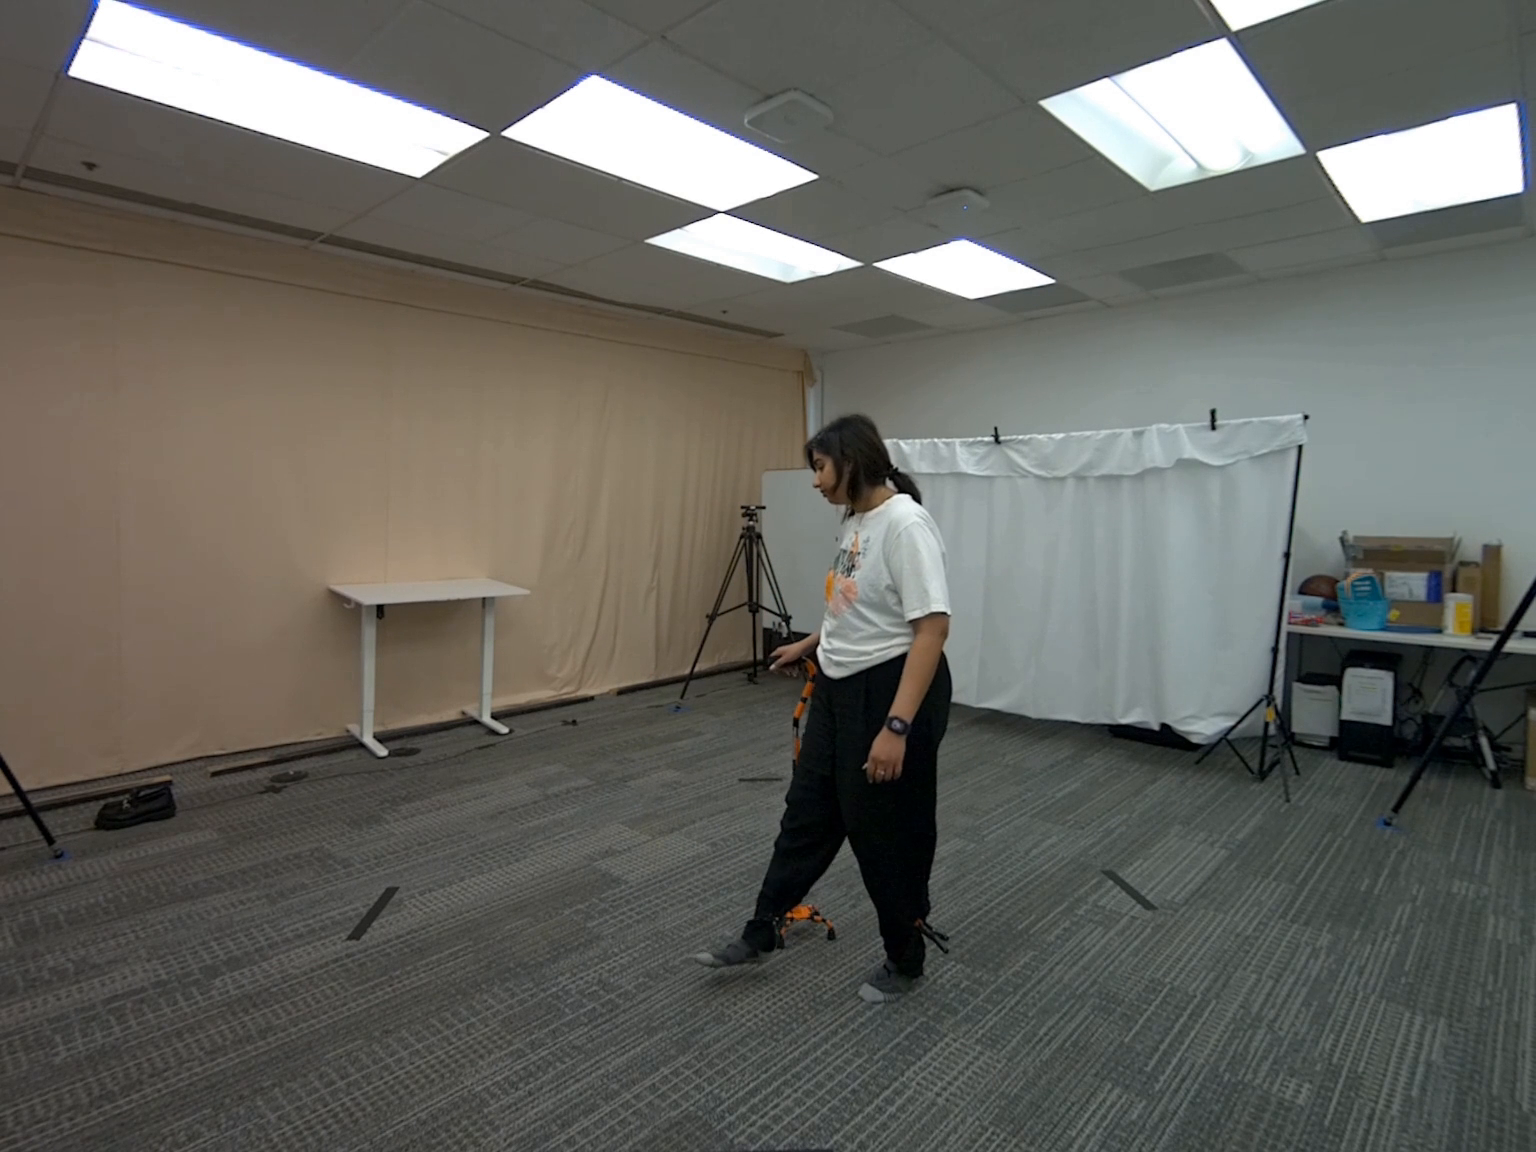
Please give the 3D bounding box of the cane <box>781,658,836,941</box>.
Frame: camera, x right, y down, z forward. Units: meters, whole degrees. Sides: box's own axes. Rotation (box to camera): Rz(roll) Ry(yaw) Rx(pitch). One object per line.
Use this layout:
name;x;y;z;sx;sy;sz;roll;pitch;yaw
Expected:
cane;0.098;0.714;2.718;0.203;0.906;0.154;-2;3;-18
